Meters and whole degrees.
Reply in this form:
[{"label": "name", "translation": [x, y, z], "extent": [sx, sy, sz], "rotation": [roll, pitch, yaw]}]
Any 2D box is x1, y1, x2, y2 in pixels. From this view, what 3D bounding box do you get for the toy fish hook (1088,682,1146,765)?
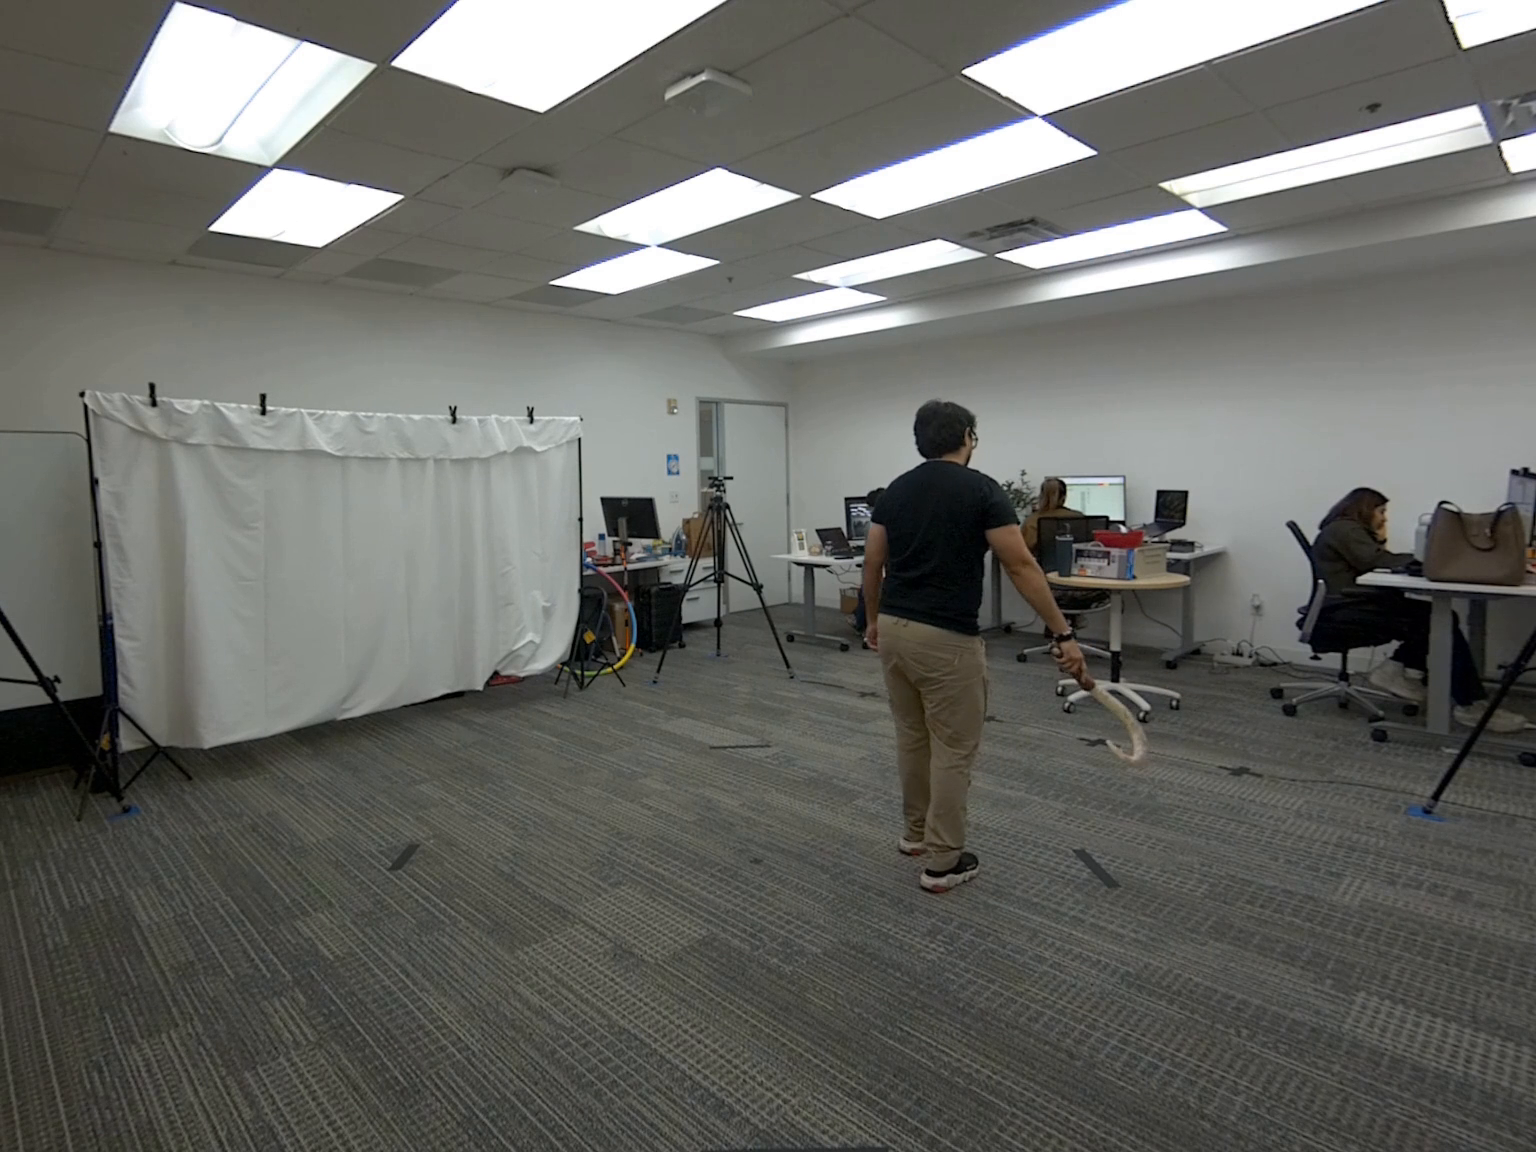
[{"label": "toy fish hook", "translation": [1.059, 0.408, 2.771], "extent": [0.048, 0.499, 0.227], "rotation": [-39, 14, 37]}]
